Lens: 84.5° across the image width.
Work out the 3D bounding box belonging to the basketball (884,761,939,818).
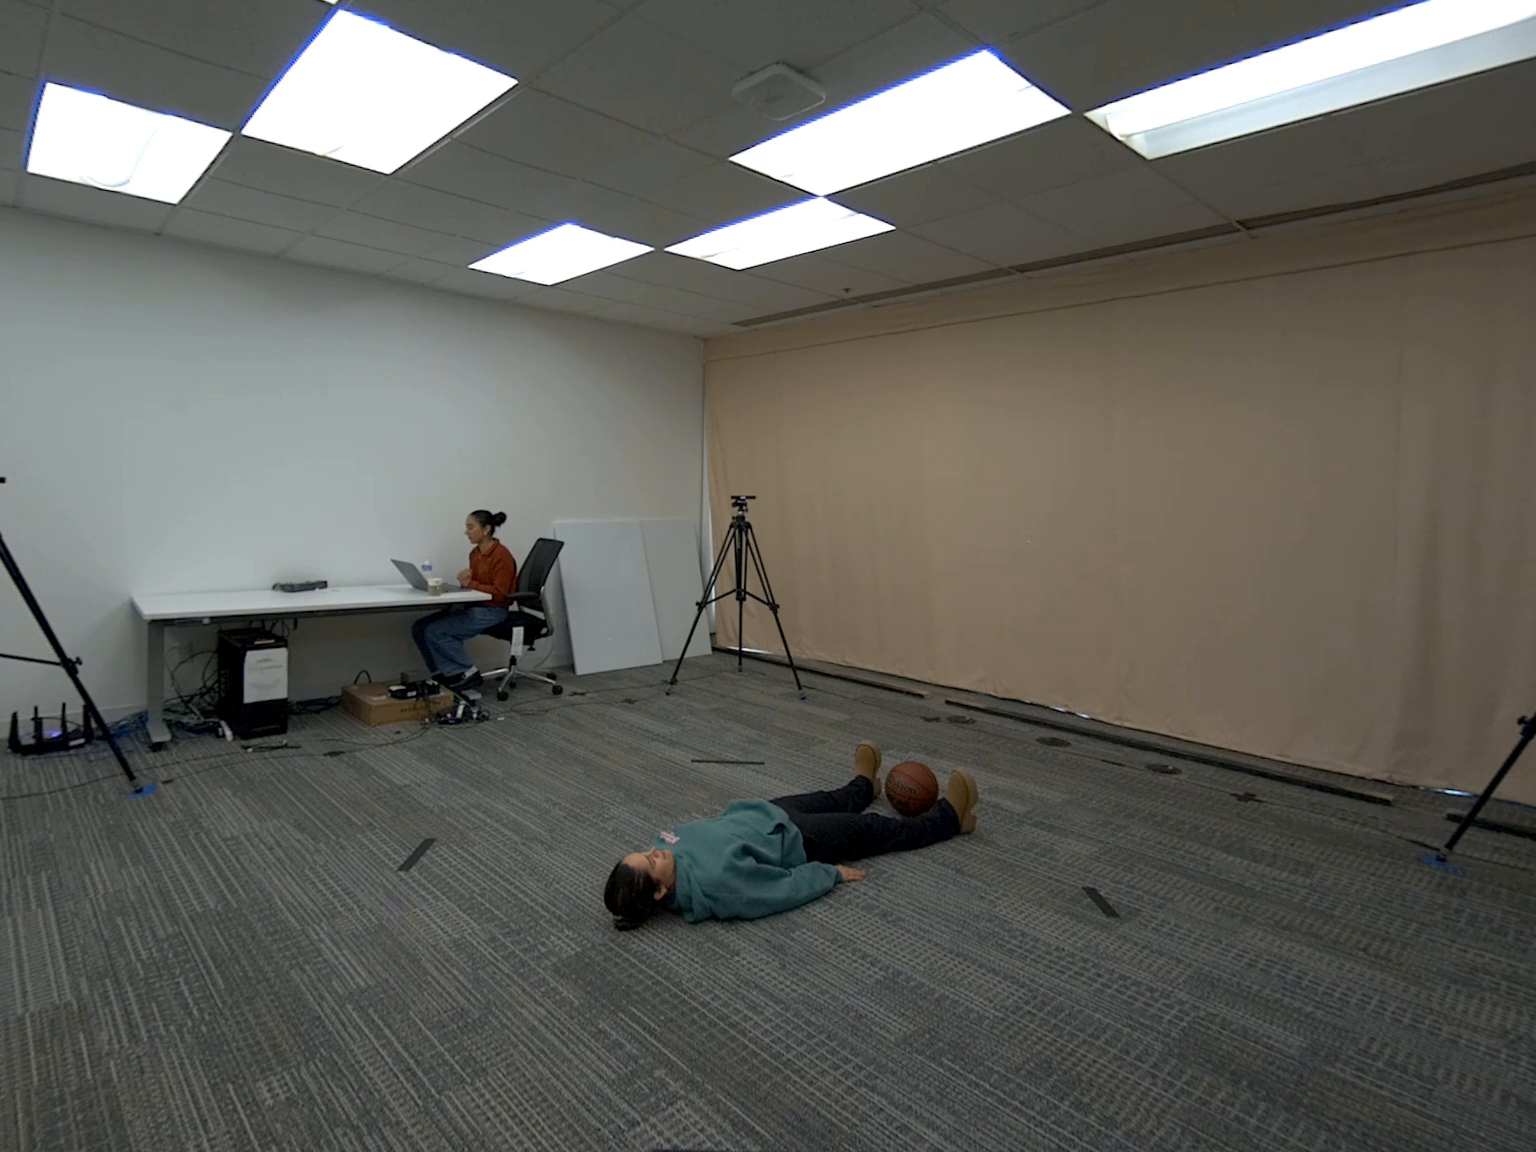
[{"bbox_3d":[0.626,0.946,3.758,0.236,0.235,0.237,1,5,-1],"label":"basketball"}]
